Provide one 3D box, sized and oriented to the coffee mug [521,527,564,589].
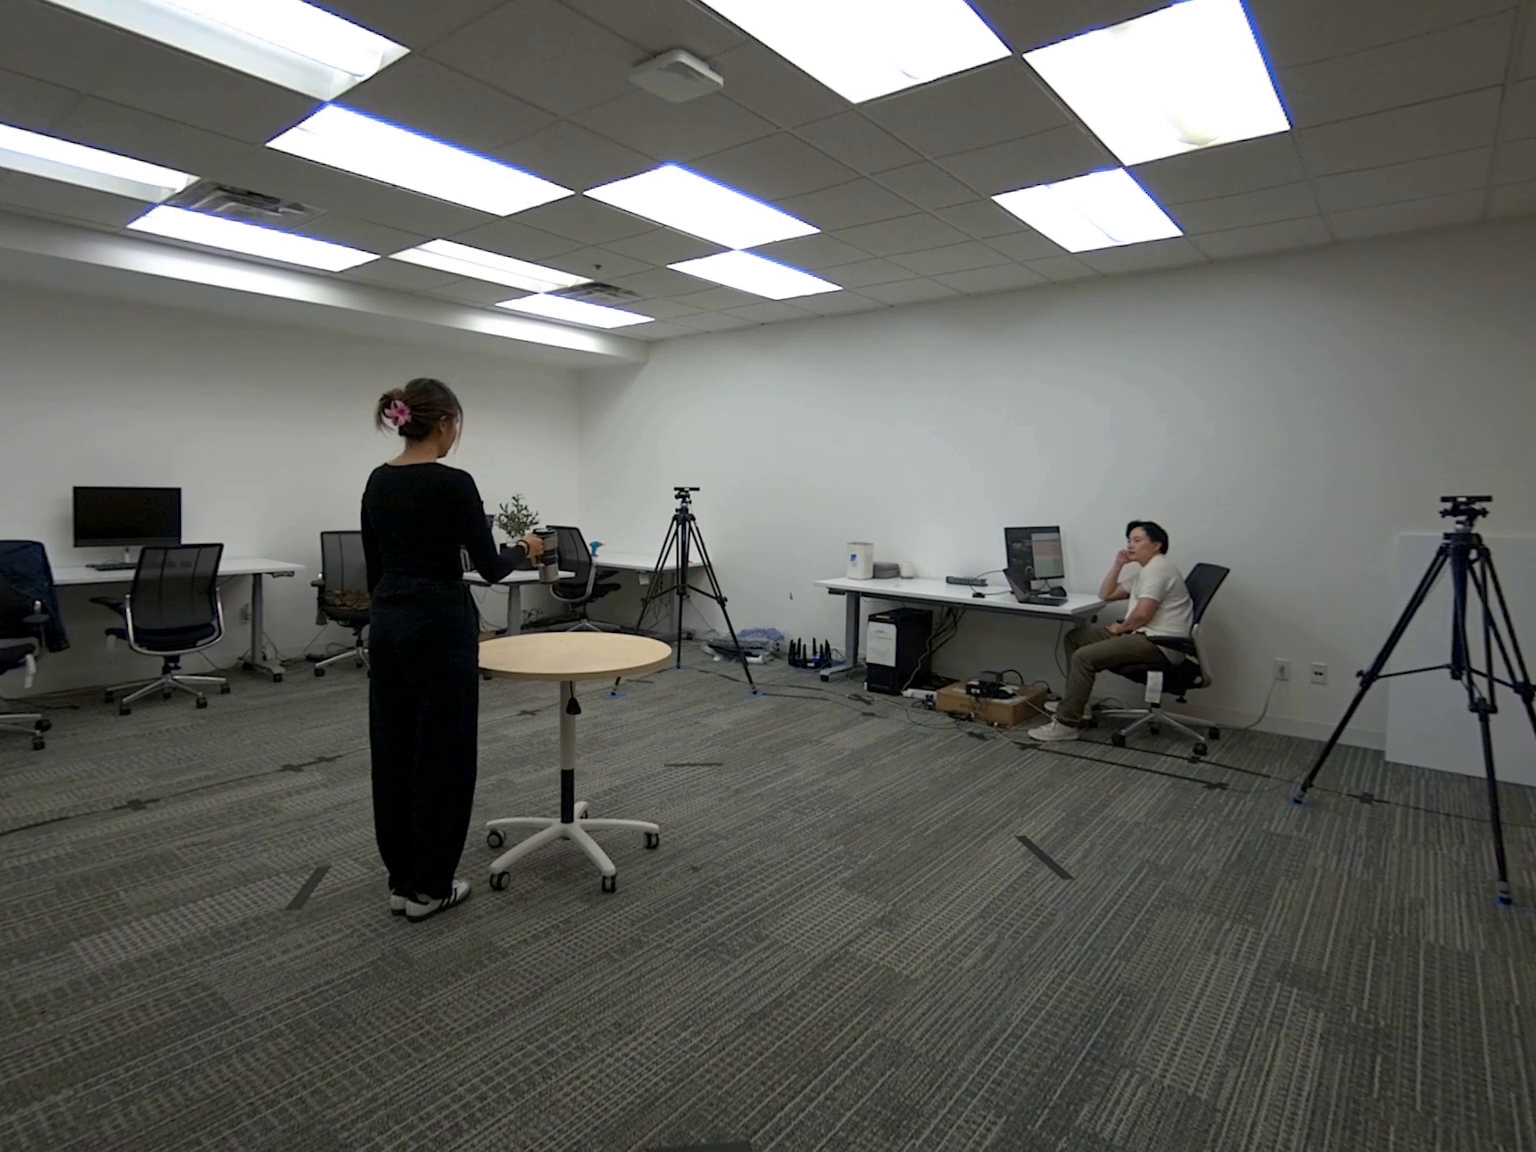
[{"bbox_3d":[-0.837,-0.070,3.113,0.091,0.201,0.119,9,12,37],"label":"coffee mug"}]
